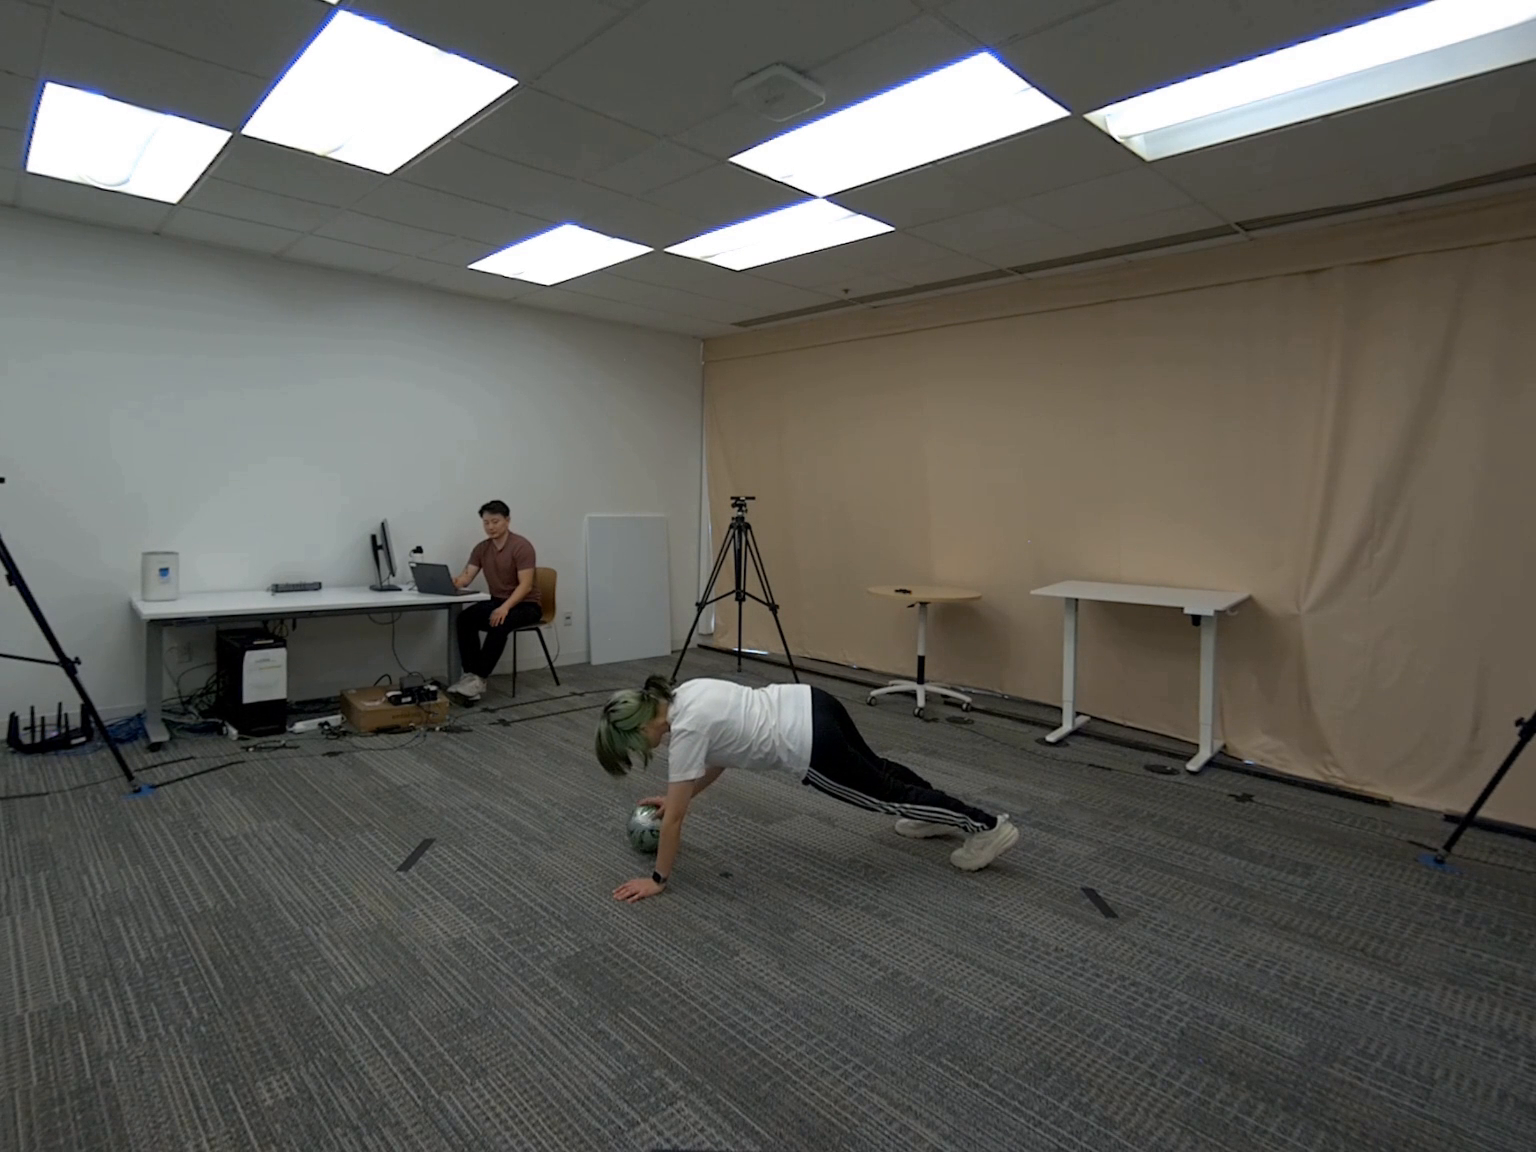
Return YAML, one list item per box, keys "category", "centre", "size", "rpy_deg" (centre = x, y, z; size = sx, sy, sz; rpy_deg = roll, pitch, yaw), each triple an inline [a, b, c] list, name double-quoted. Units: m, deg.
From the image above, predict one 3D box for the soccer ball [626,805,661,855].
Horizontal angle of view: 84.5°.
- category: "soccer ball"
  centre: [-0.465, 0.980, 3.318]
  size: [0.187, 0.187, 0.188]
  rpy_deg: [1, 4, -1]
